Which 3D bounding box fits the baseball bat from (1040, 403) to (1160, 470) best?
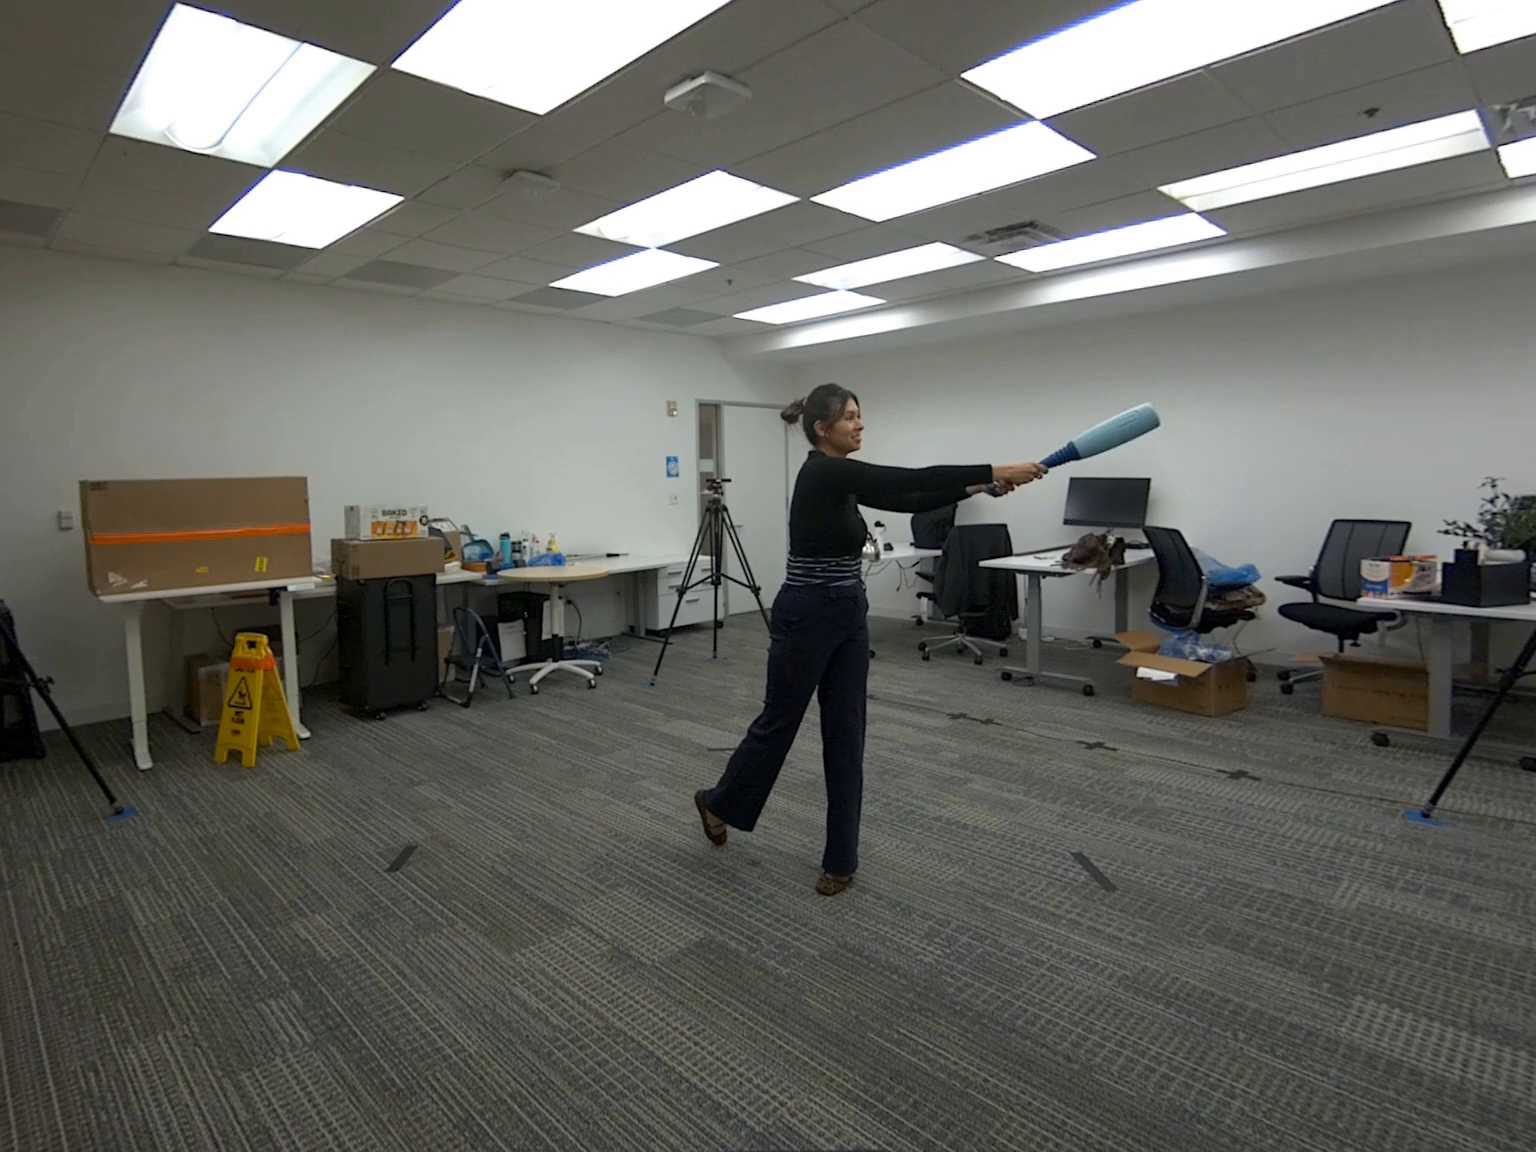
[{"bbox_3d":[0.969,-0.380,2.702,0.548,0.089,0.088,-26,-4,20],"label":"baseball bat"}]
